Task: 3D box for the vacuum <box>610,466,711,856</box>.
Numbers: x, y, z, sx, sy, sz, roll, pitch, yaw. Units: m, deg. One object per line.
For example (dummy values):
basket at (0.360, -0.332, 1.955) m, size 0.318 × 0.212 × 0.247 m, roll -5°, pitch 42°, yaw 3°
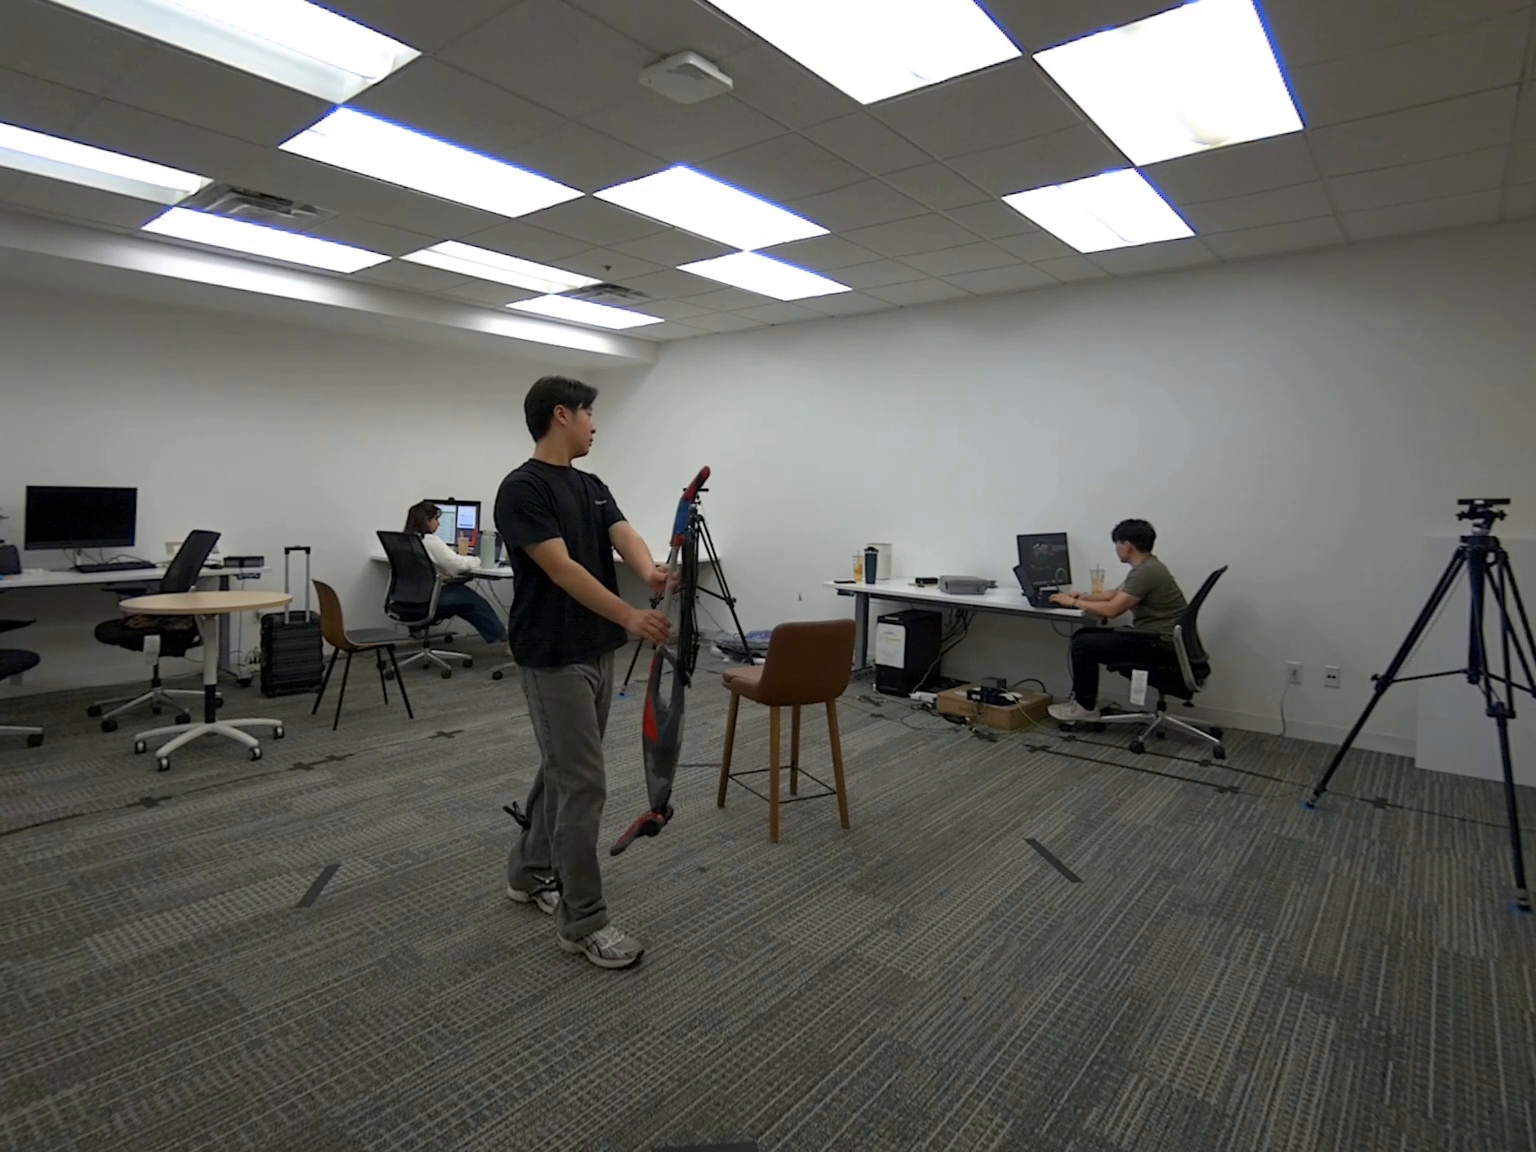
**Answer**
vacuum at (-0.272, 0.216, 2.400) m, size 0.148 × 1.044 × 0.246 m, roll 13°, pitch 6°, yaw 26°
